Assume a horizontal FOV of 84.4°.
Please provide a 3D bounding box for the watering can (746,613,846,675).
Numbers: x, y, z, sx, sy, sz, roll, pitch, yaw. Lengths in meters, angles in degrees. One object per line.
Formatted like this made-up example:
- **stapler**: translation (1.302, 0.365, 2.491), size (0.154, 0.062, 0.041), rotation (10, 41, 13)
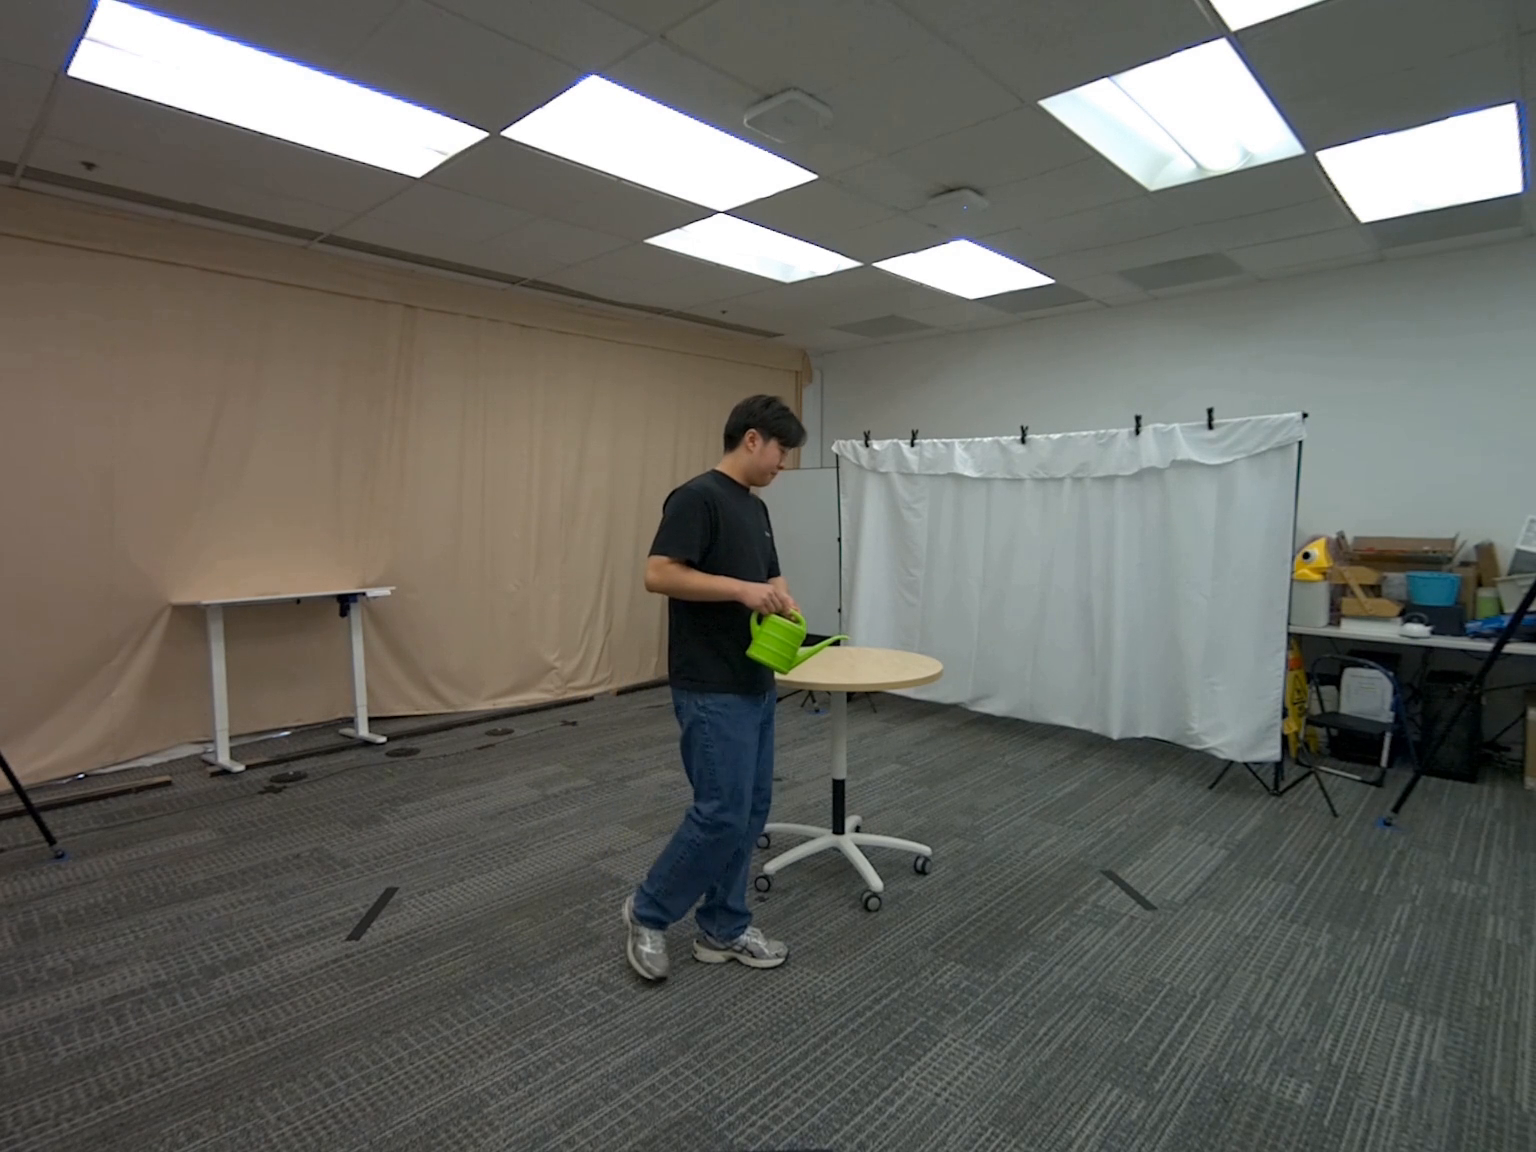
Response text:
- **watering can**: translation (0.068, 0.191, 2.346), size (0.283, 0.177, 0.096), rotation (23, -7, 13)
